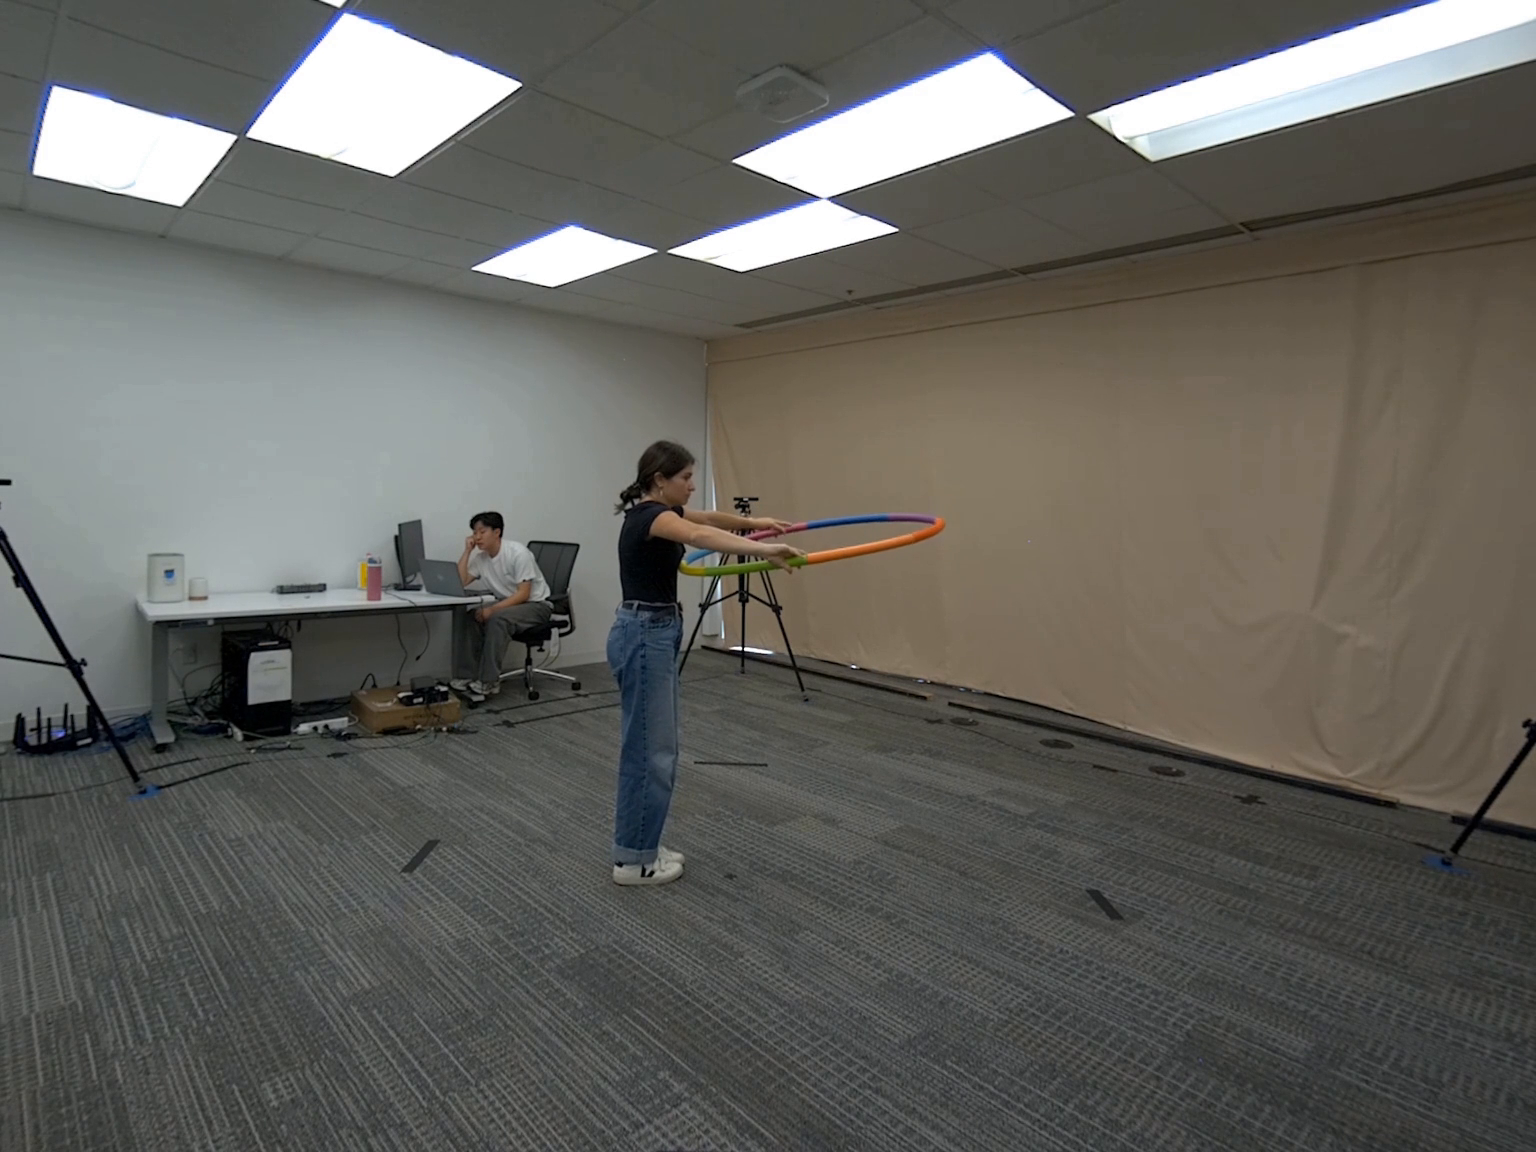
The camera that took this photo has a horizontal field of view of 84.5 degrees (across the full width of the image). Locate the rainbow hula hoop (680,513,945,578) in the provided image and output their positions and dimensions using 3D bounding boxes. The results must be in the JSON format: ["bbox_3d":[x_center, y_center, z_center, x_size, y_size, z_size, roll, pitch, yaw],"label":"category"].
[{"bbox_3d":[0.134,-0.135,3.118,0.979,0.035,0.985,-8,9,0],"label":"rainbow hula hoop"}]
